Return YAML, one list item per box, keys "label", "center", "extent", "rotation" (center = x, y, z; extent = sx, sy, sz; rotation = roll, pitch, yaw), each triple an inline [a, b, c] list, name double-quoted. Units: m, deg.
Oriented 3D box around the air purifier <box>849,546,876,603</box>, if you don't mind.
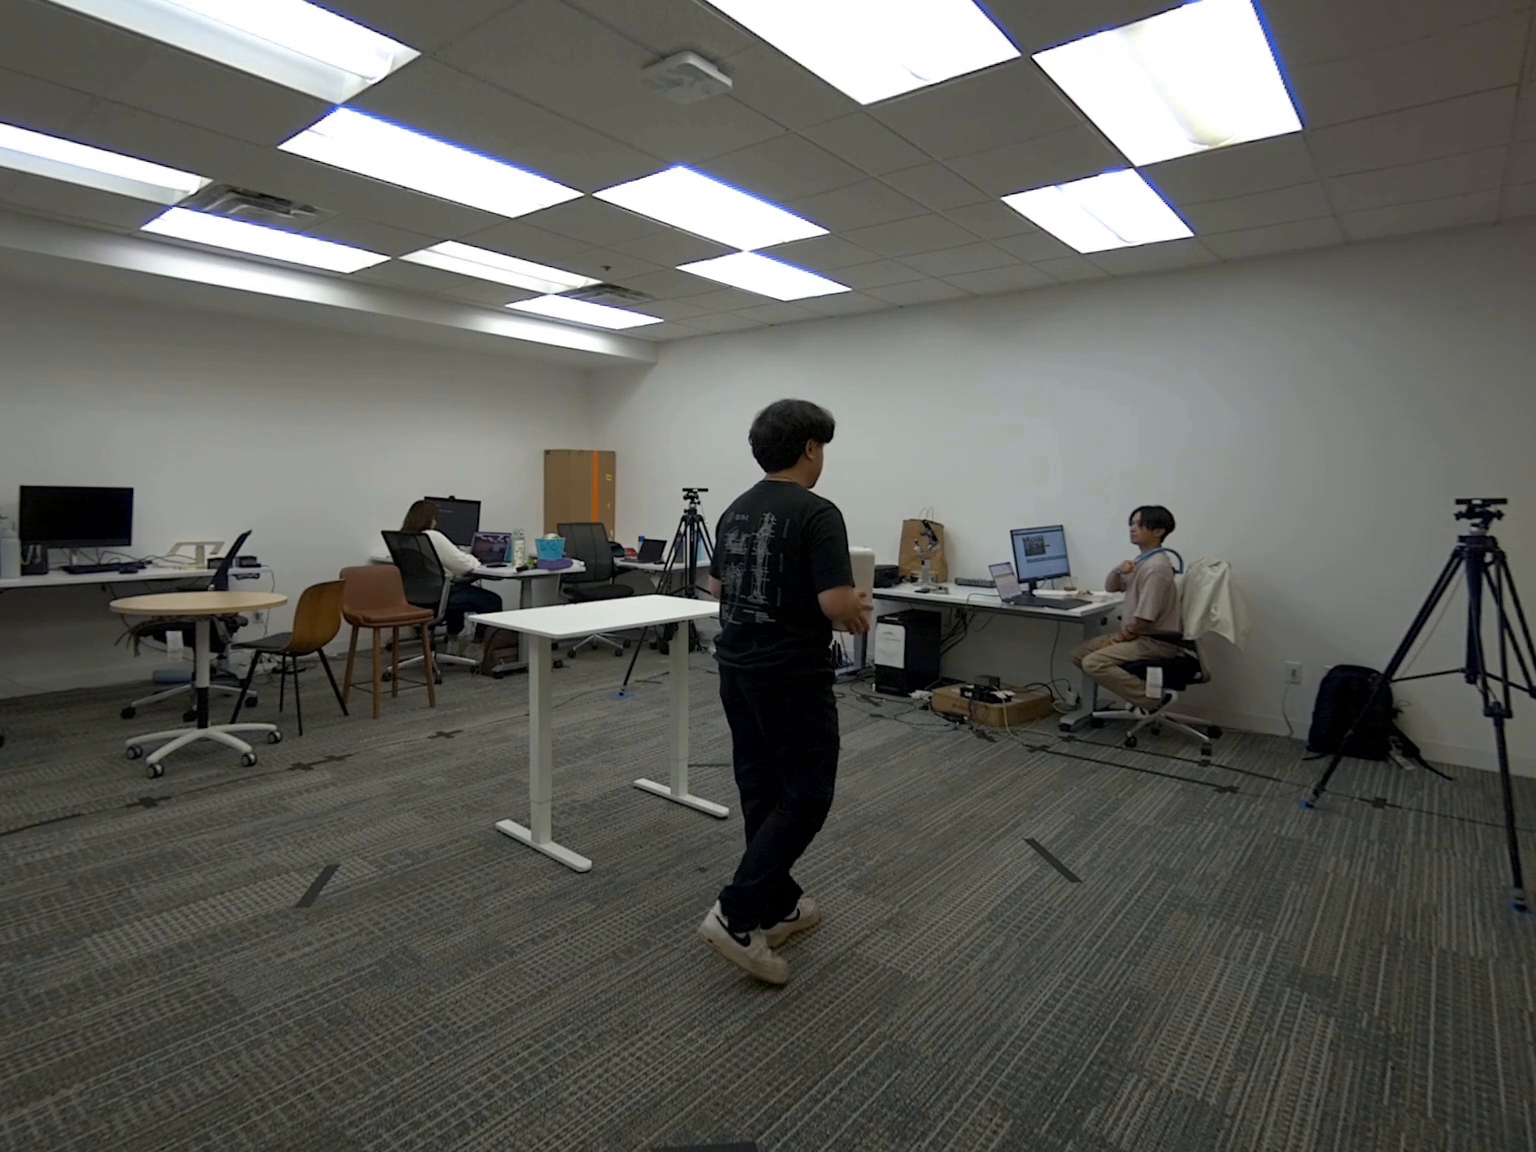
- label: "air purifier"
  center: [0.246, 0.039, 2.788]
  extent: [0.167, 0.265, 0.175]
  rotation: [1, 0, -23]
